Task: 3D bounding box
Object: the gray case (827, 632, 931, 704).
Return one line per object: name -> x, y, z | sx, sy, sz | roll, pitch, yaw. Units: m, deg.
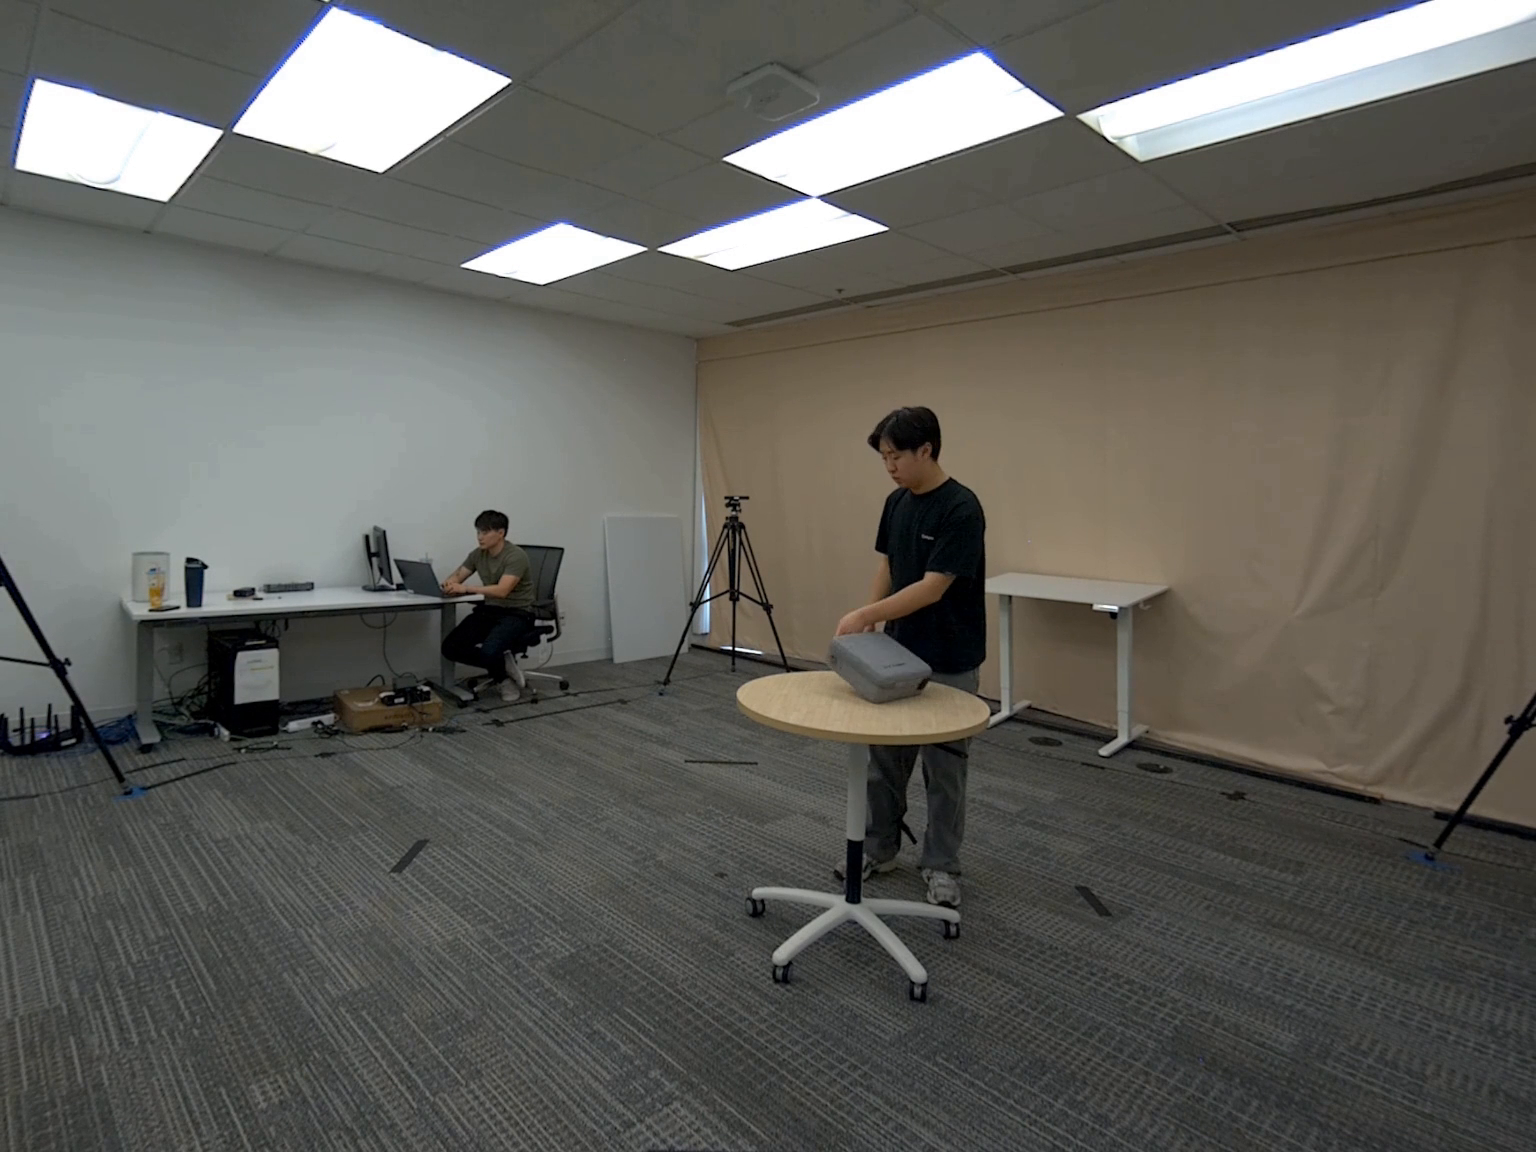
gray case -> 0.341, 0.282, 2.663 | 0.257, 0.102, 0.296 | -3, 28, -42
